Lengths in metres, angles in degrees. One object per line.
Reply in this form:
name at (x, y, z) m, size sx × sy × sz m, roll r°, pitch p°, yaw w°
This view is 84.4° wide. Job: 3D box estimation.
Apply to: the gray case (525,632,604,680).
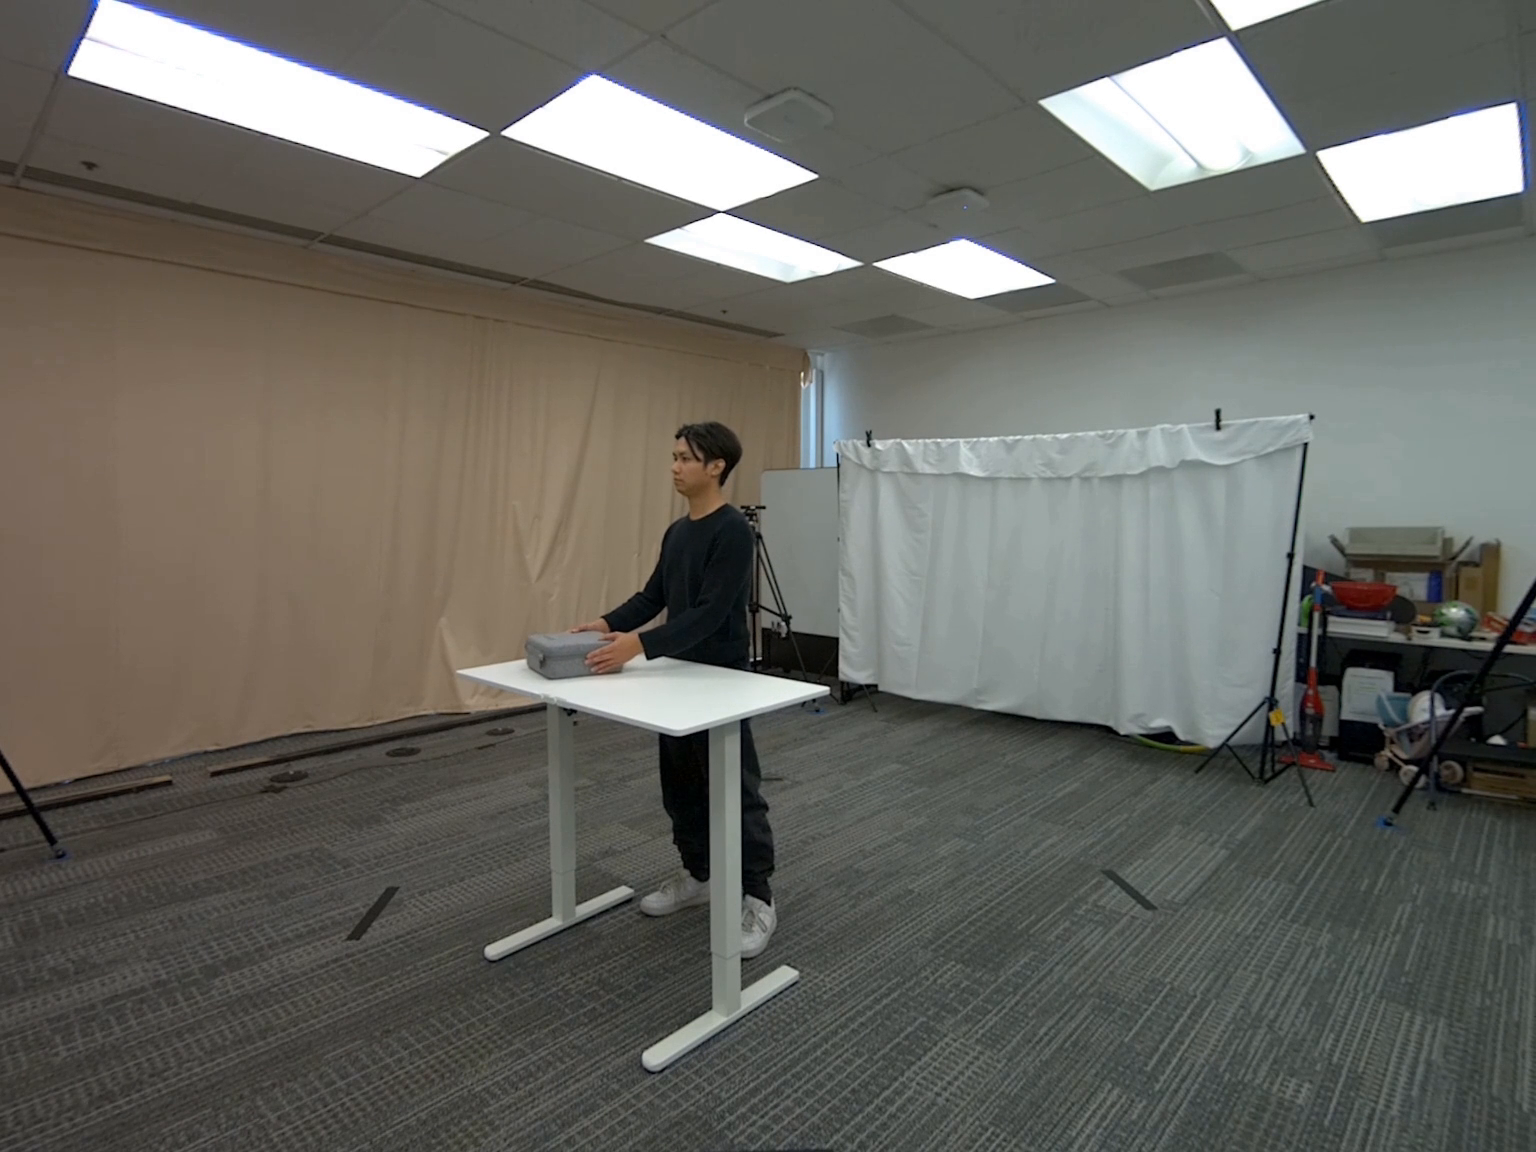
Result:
gray case at (-0.607, 0.244, 2.629) m, size 0.253 × 0.104 × 0.265 m, roll -3°, pitch 5°, yaw -33°
